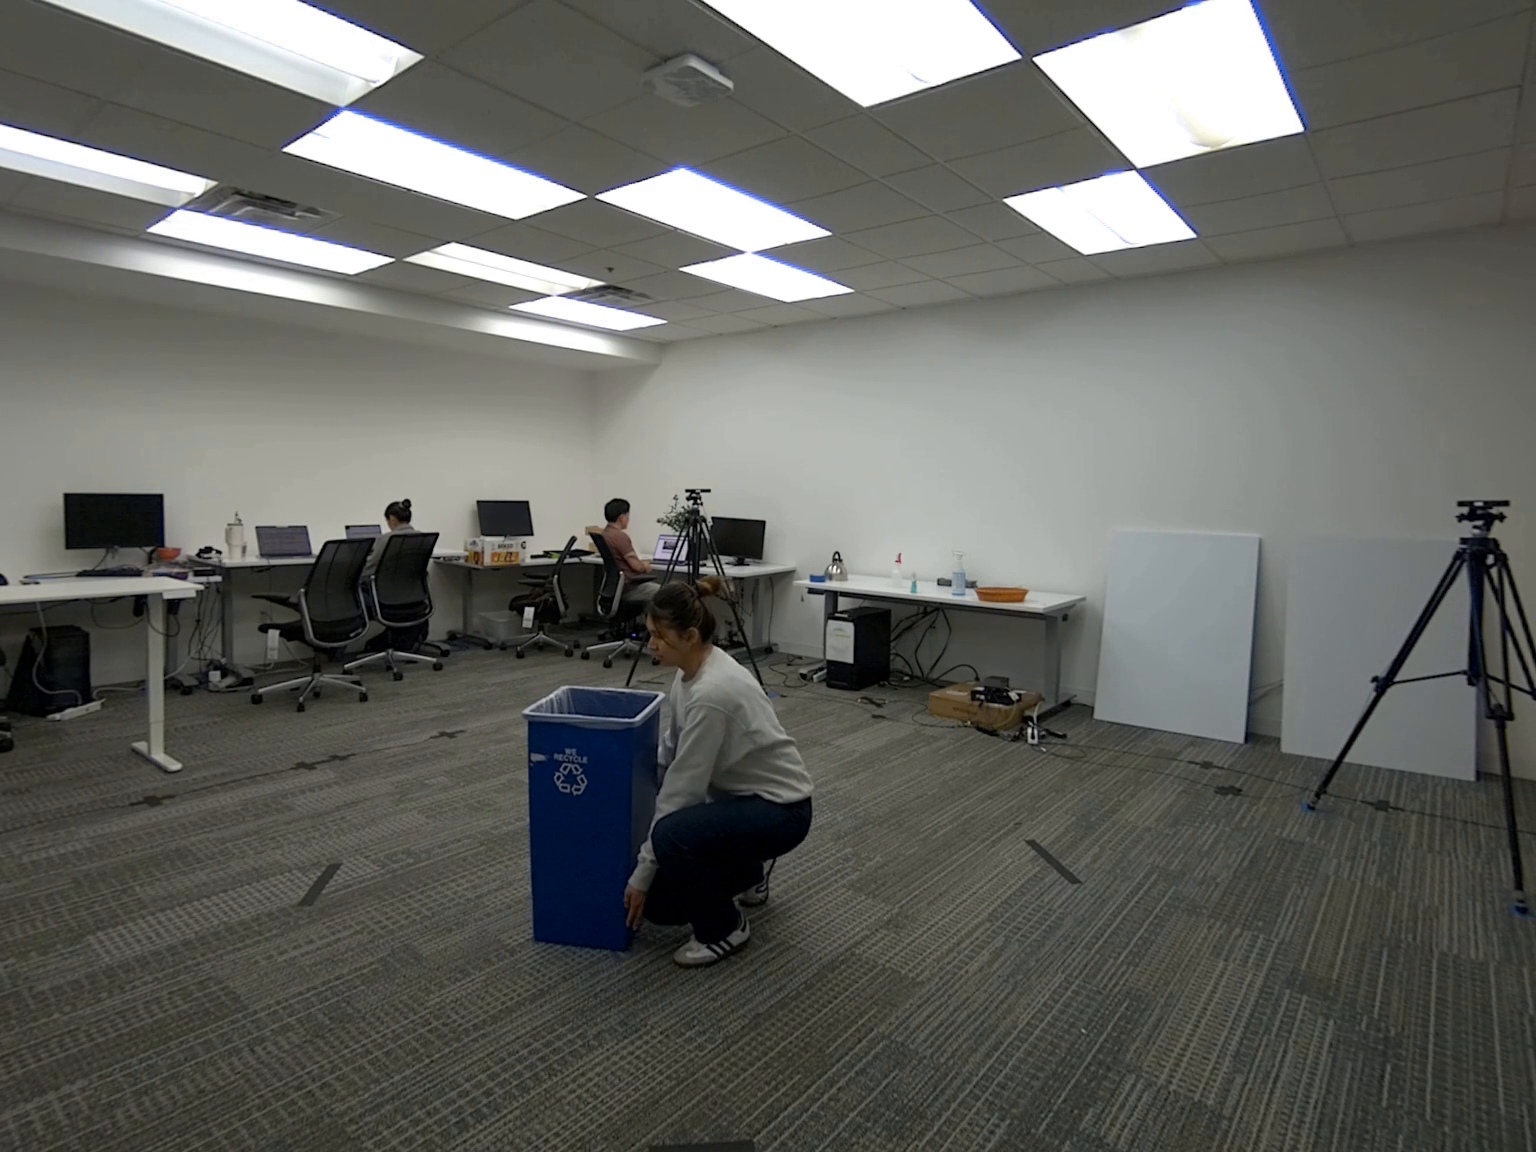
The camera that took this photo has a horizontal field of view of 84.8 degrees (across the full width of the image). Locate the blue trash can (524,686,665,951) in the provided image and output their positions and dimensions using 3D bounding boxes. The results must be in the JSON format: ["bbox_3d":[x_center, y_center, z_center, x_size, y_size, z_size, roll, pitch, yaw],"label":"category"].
[{"bbox_3d":[-0.550,0.750,2.701,0.378,0.711,0.375,2,4,10],"label":"blue trash can"}]
